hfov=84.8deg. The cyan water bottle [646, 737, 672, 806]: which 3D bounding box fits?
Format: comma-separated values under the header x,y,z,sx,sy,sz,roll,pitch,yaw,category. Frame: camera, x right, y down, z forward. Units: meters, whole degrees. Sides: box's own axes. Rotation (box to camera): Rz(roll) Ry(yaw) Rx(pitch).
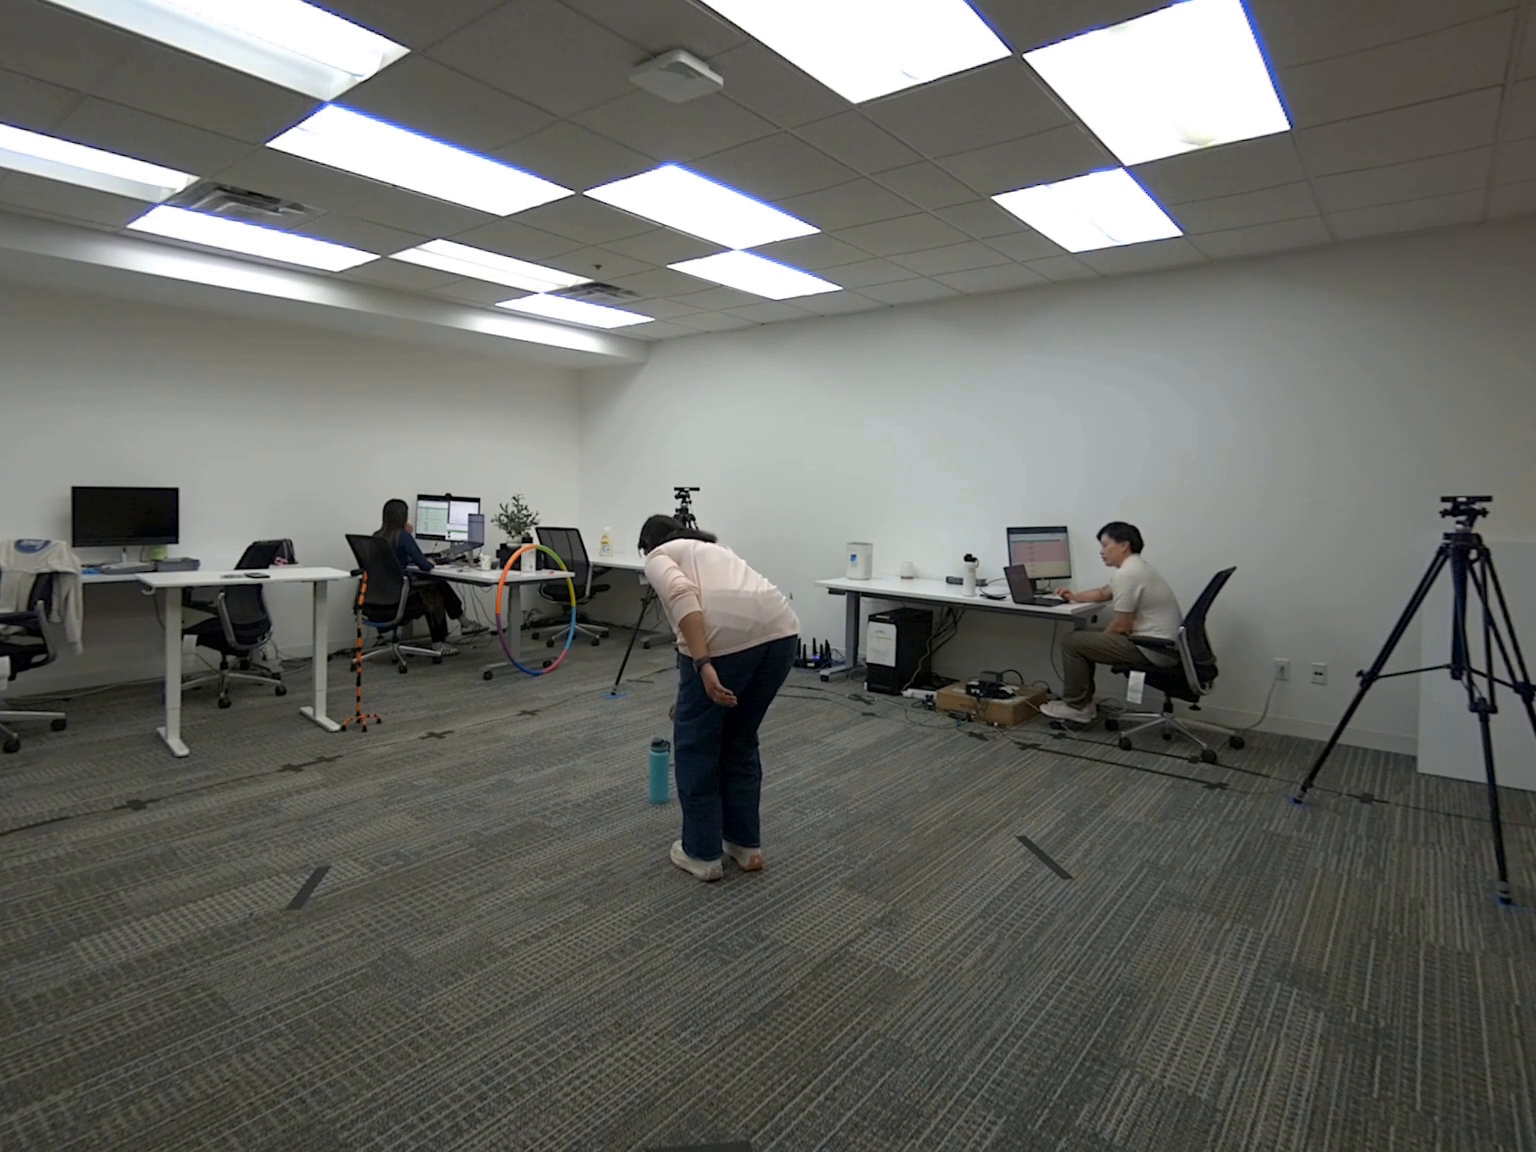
x,y,z,sx,sy,sz,roll,pitch,yaw,category
-0.495,0.853,3.780,0.092,0.282,0.093,1,3,-2,cyan water bottle
